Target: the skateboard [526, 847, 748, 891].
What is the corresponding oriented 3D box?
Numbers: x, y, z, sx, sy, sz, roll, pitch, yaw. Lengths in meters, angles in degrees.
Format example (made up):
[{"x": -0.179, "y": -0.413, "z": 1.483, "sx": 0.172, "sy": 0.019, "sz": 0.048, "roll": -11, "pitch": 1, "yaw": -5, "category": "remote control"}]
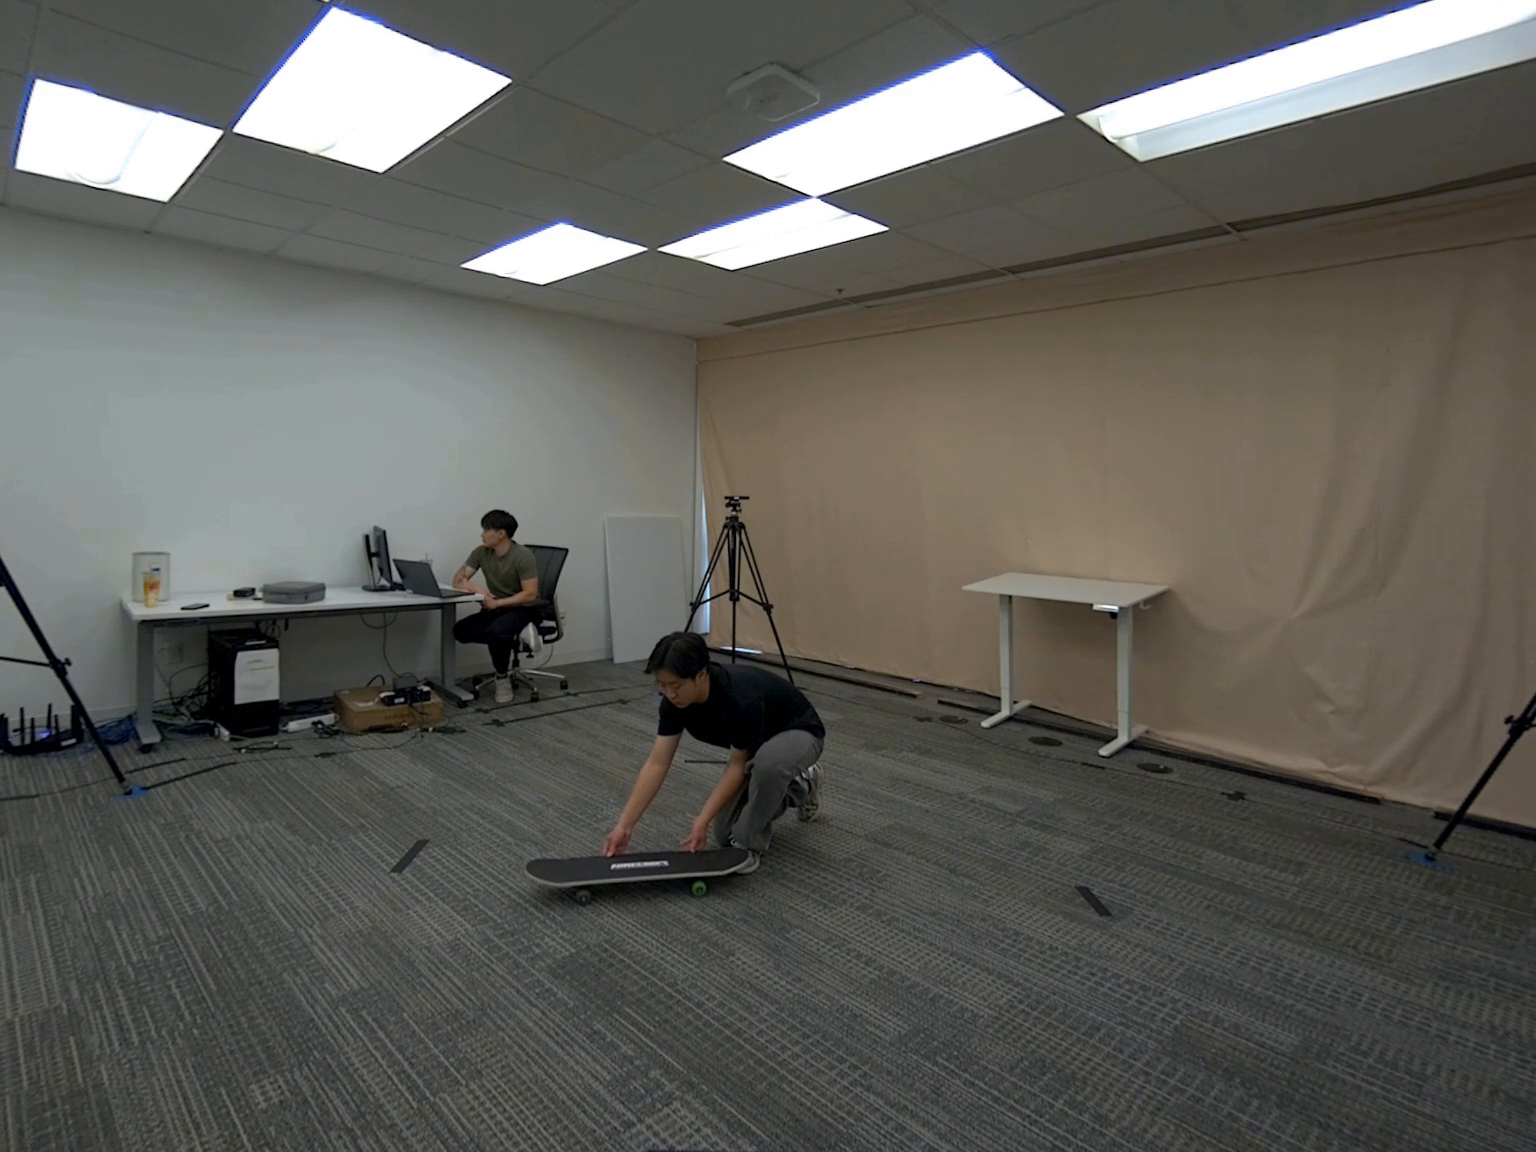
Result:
[{"x": -0.455, "y": 1.053, "z": 2.963, "sx": 0.778, "sy": 0.110, "sz": 0.196, "roll": 1, "pitch": 5, "yaw": -11, "category": "skateboard"}]
